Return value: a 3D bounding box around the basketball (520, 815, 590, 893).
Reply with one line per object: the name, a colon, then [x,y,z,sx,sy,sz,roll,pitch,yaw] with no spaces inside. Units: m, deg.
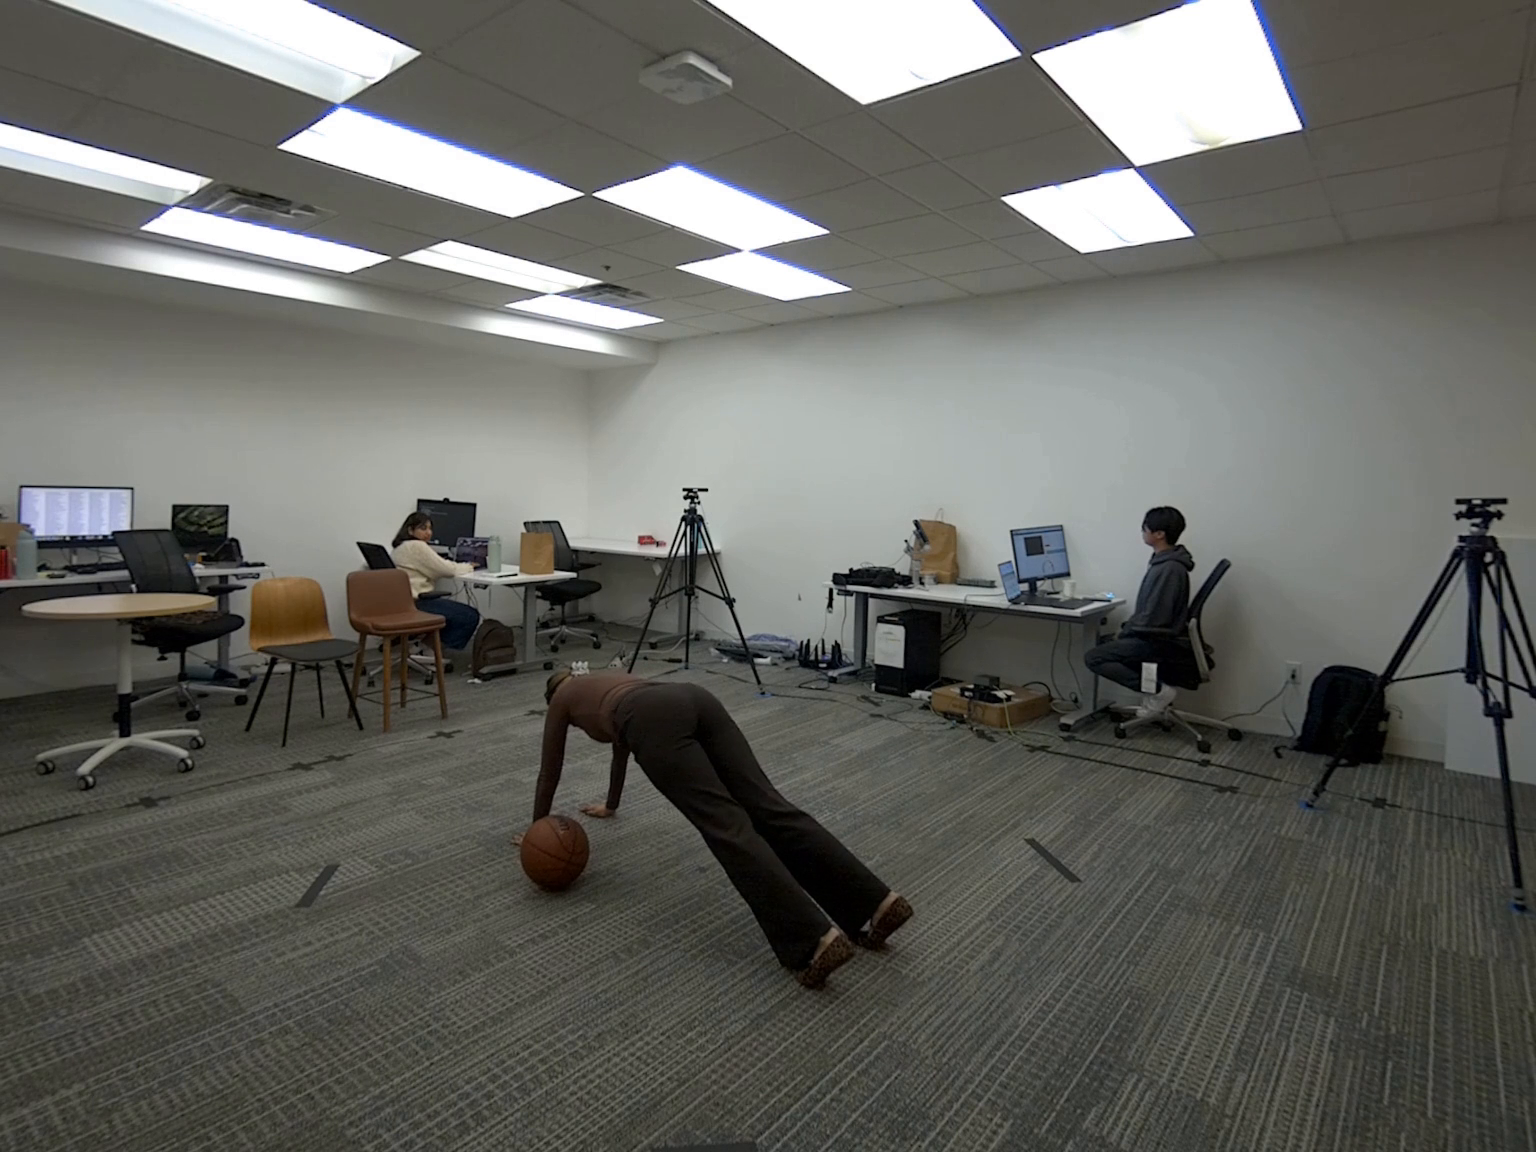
basketball: [-0.755,0.954,2.955,0.236,0.235,0.237,1,4,-2]
